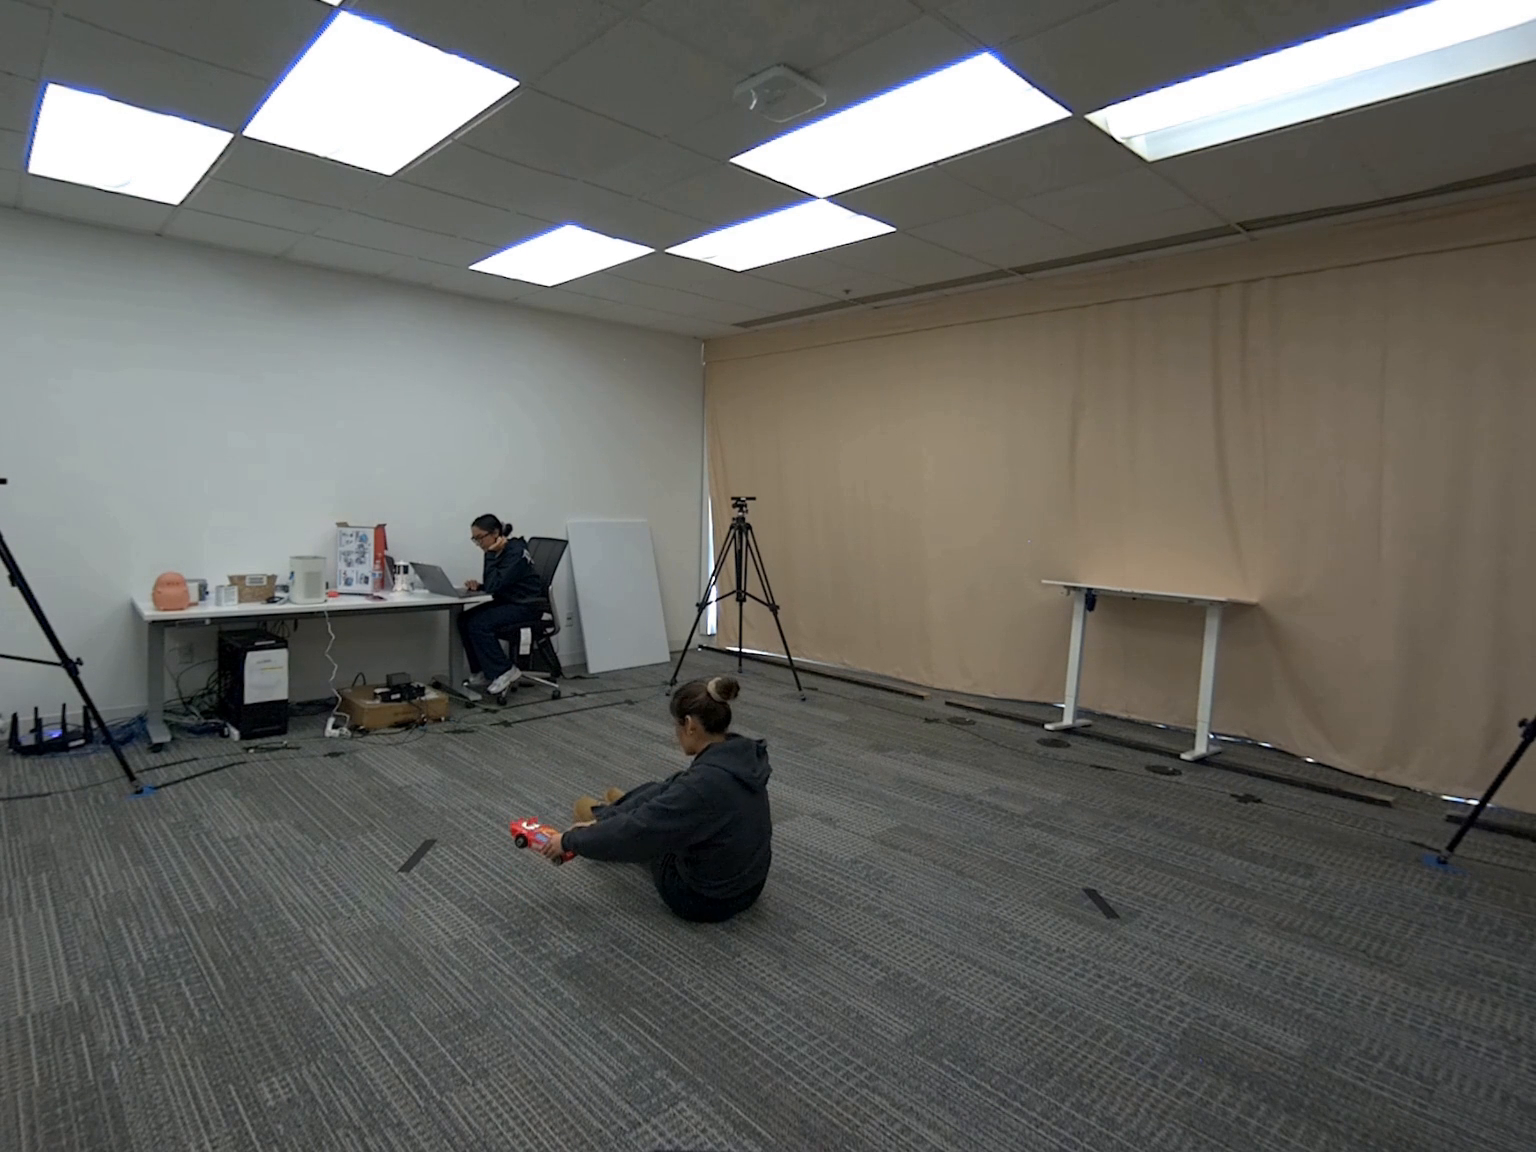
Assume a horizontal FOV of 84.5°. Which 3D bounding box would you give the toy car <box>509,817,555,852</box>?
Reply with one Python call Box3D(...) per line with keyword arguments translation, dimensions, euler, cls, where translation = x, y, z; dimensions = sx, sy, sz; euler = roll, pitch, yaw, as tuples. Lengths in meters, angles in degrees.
Box3D(translation=(-0.758, 0.892, 2.860), dimensions=(0.259, 0.083, 0.128), euler=(30, 8, 18), cls="toy car")
